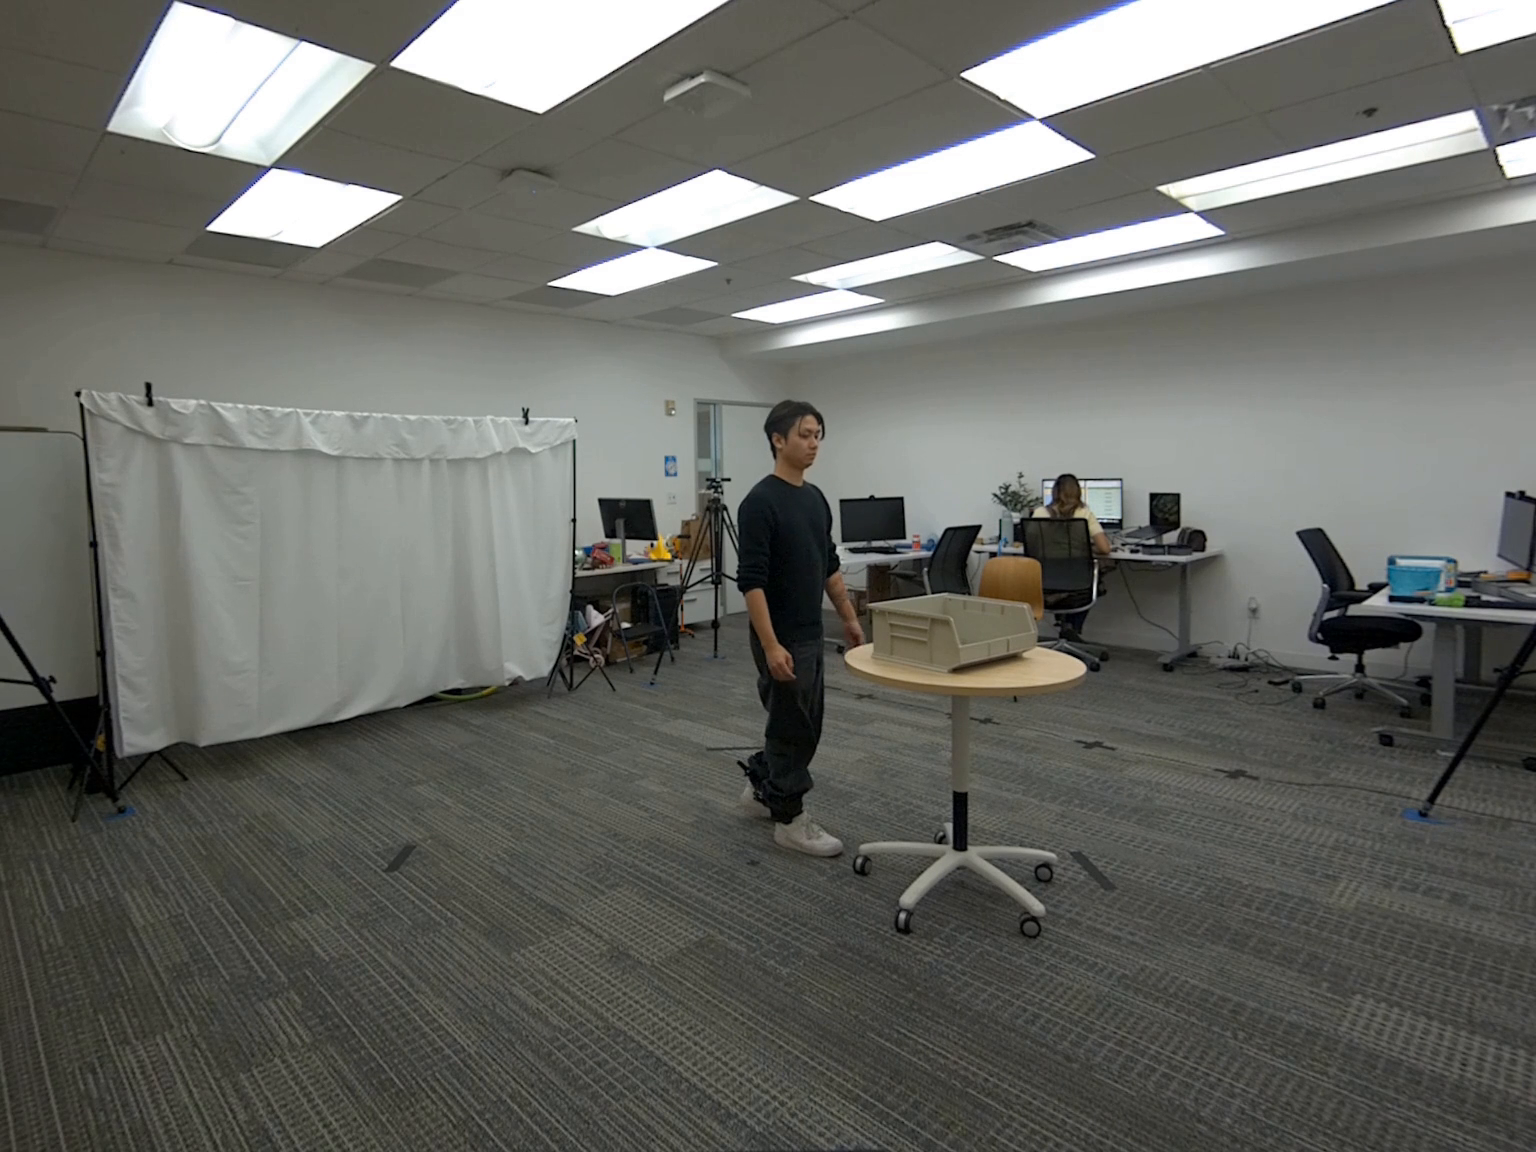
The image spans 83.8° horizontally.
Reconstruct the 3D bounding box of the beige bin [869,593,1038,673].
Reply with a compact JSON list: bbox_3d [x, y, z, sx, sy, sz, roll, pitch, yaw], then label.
[{"bbox_3d":[0.609,0.182,2.858,0.411,0.188,0.389,-6,7,-38],"label":"beige bin"}]
